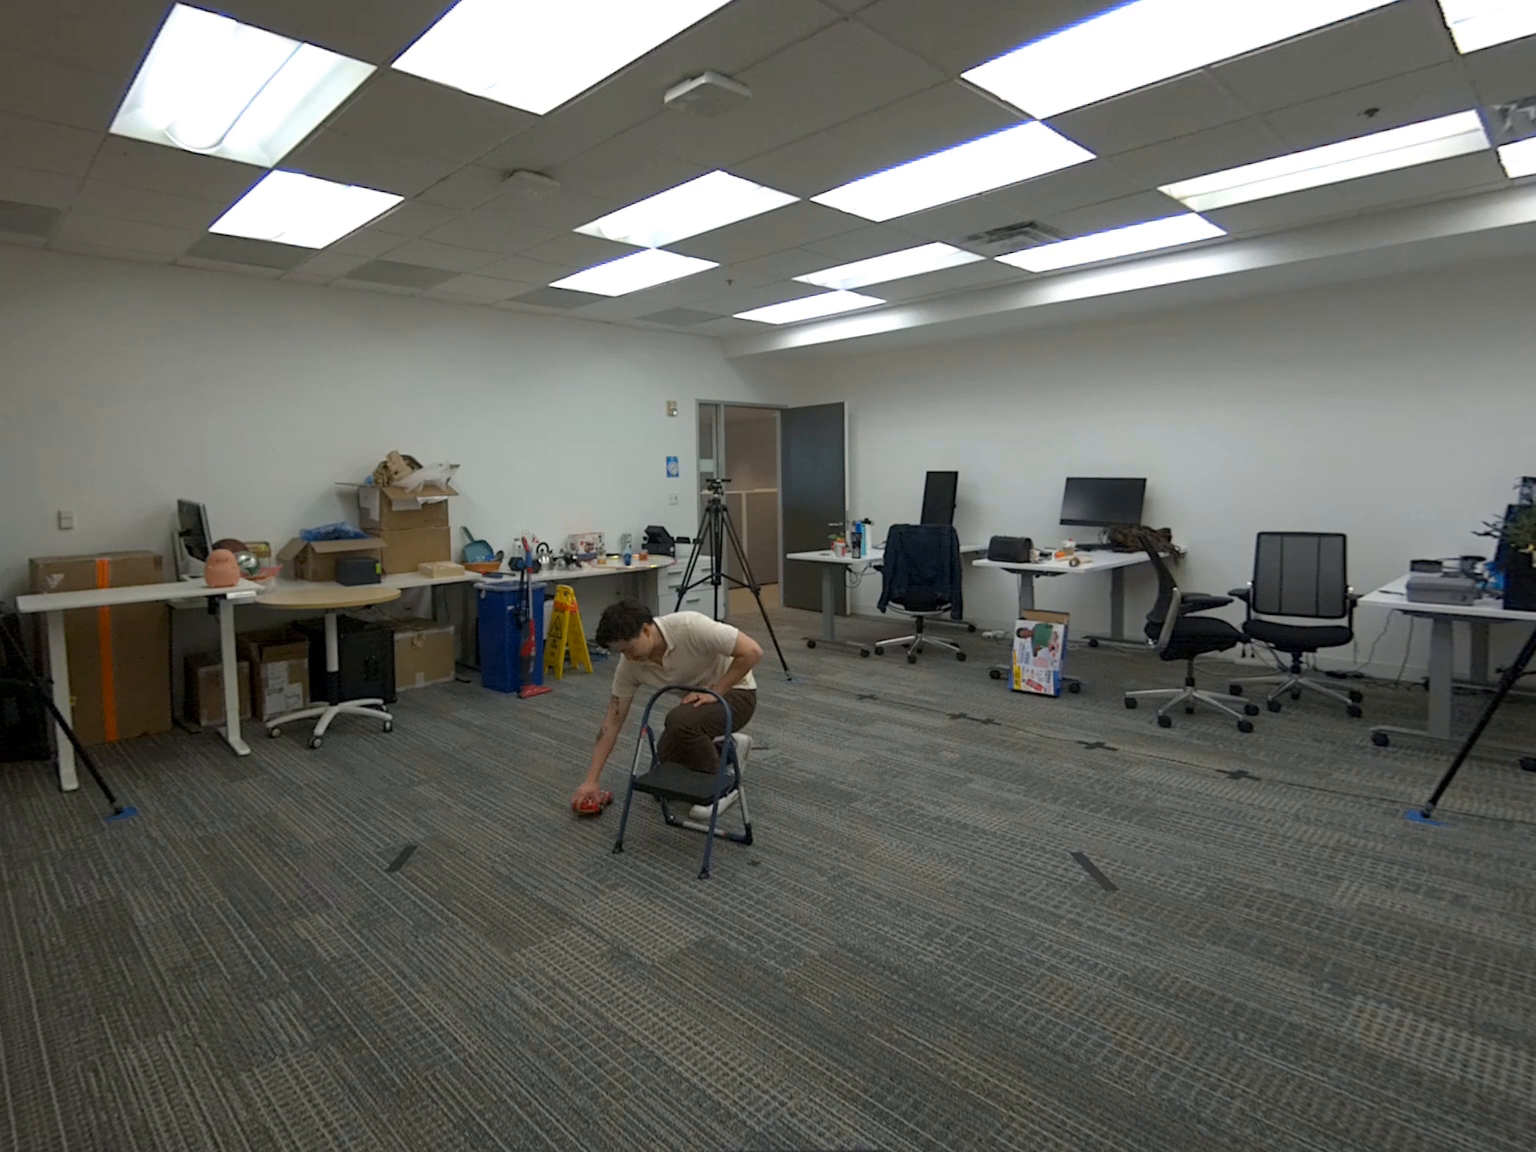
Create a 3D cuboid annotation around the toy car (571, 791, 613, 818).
[{"bbox_3d":[-0.746,0.965,3.622,0.131,0.084,0.250,-4,-8,10],"label":"toy car"}]
